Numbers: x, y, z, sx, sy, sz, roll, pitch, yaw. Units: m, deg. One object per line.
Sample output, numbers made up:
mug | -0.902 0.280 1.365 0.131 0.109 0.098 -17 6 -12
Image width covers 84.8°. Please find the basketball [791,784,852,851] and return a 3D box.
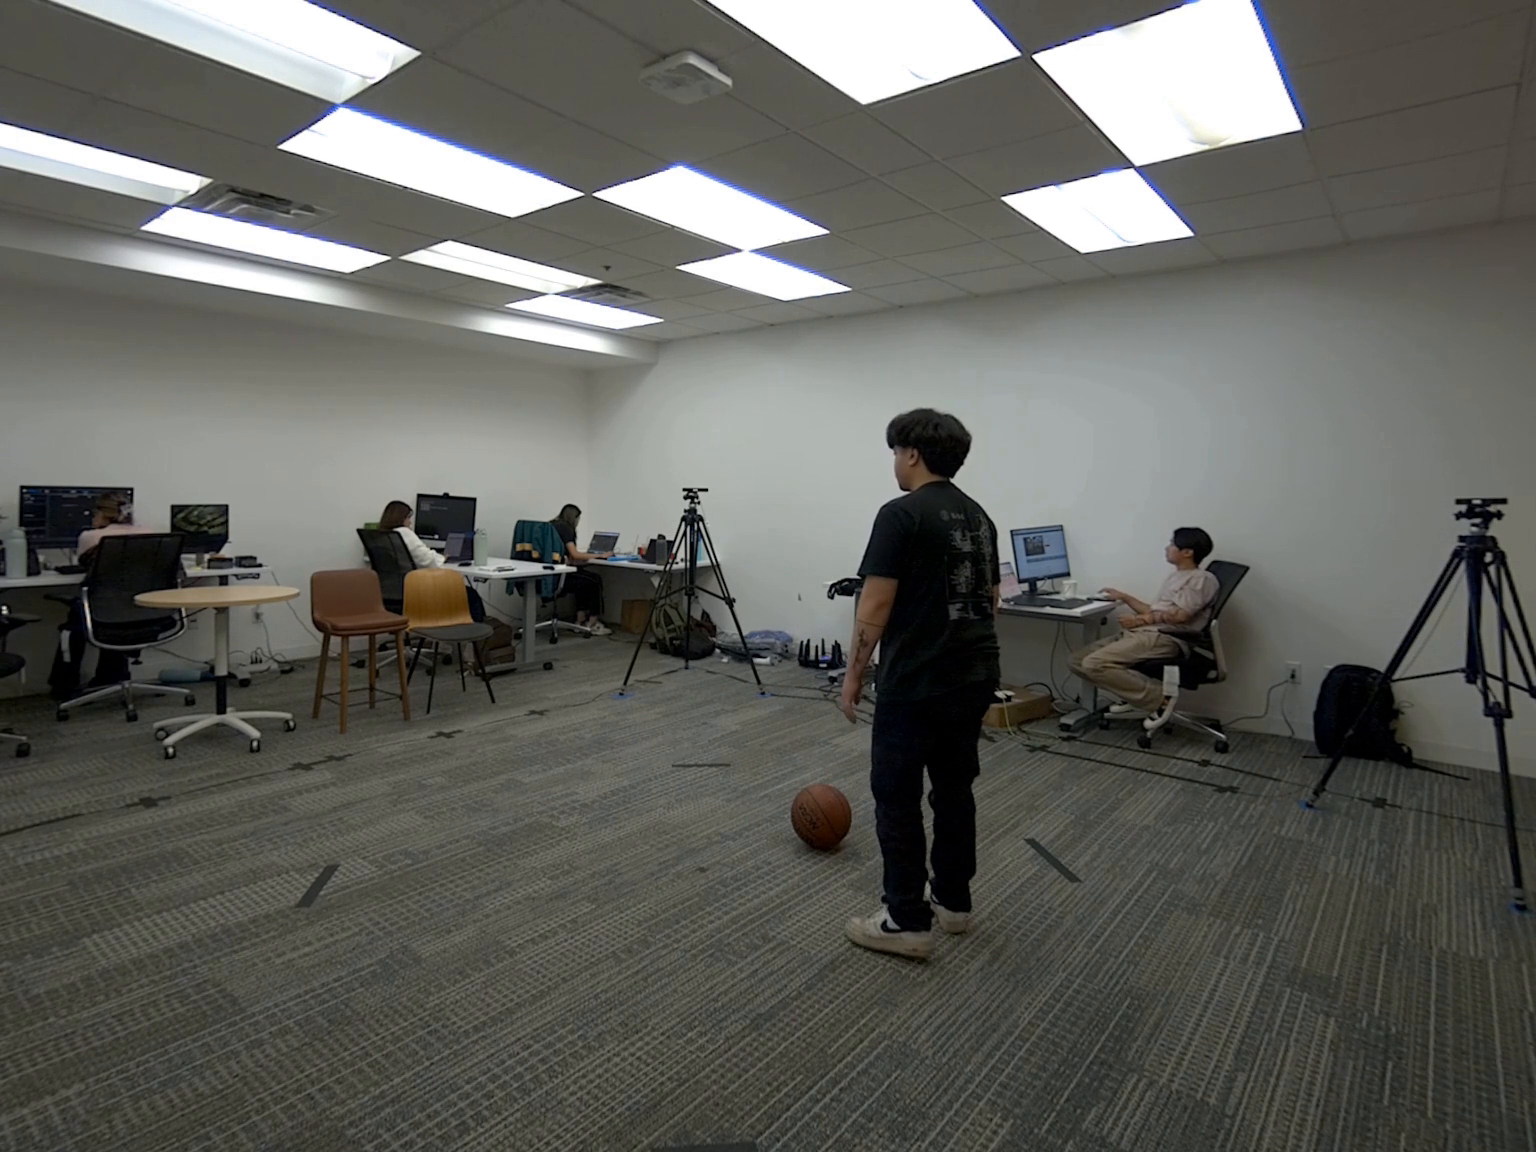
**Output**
basketball | 0.203 0.934 3.336 0.235 0.235 0.237 1 4 -2
